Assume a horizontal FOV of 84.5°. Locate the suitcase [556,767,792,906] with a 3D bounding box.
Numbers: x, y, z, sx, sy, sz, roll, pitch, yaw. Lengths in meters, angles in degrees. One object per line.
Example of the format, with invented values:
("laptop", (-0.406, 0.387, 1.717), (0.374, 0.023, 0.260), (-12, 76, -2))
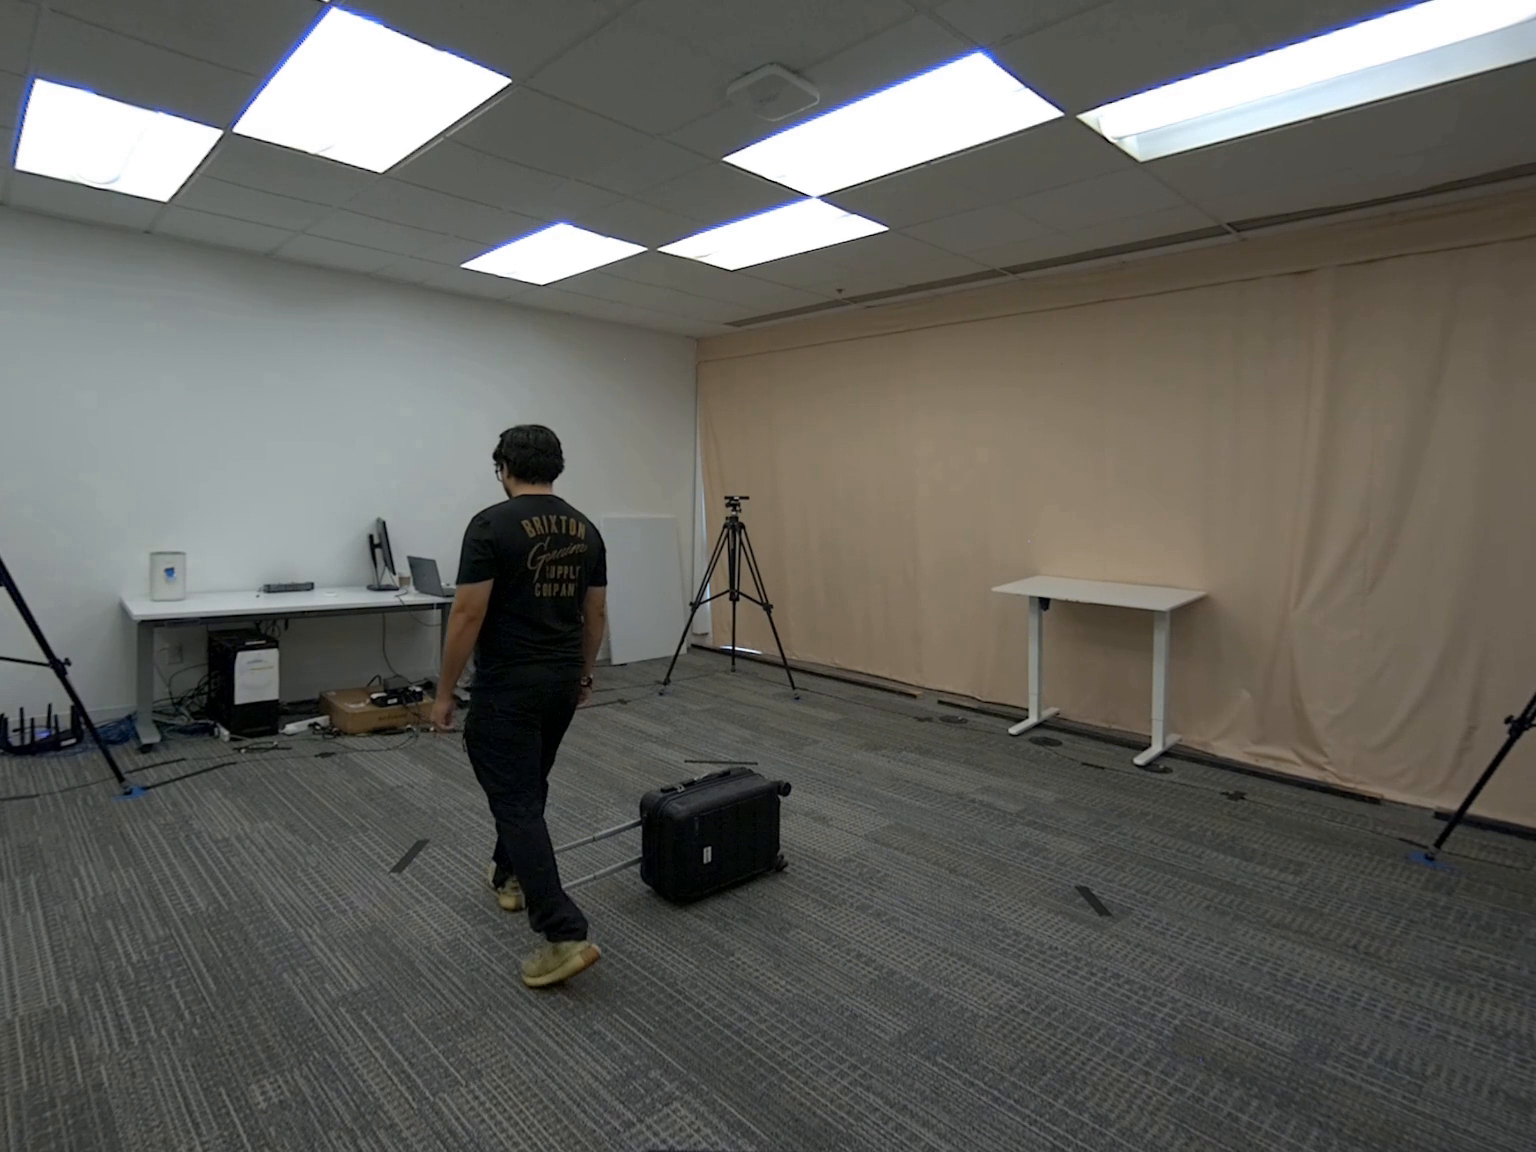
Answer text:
("suitcase", (-0.342, 0.932, 2.895), (0.957, 0.383, 0.263), (-4, 6, -44))
